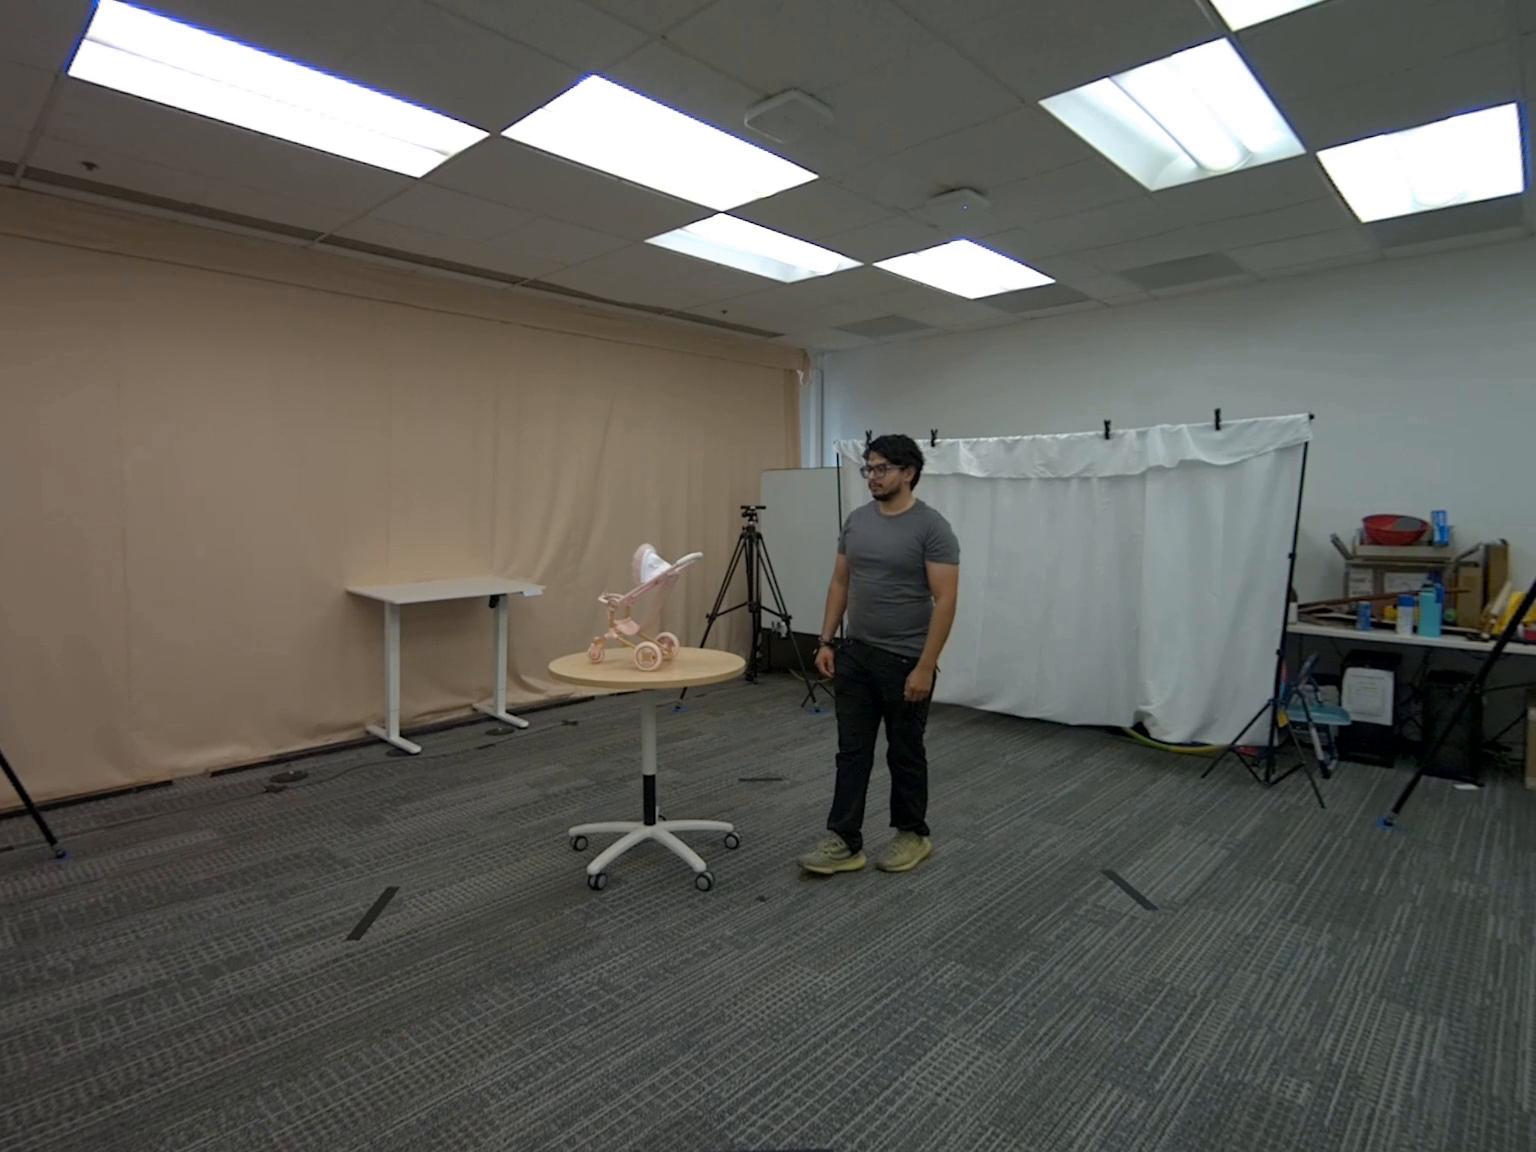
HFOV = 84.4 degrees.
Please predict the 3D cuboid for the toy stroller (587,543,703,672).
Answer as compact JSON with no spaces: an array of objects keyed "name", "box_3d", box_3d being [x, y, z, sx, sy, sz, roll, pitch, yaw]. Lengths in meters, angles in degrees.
[{"name":"toy stroller","box_3d":[-0.490,0.122,3.243,0.347,0.534,0.277,17,7,14]}]
